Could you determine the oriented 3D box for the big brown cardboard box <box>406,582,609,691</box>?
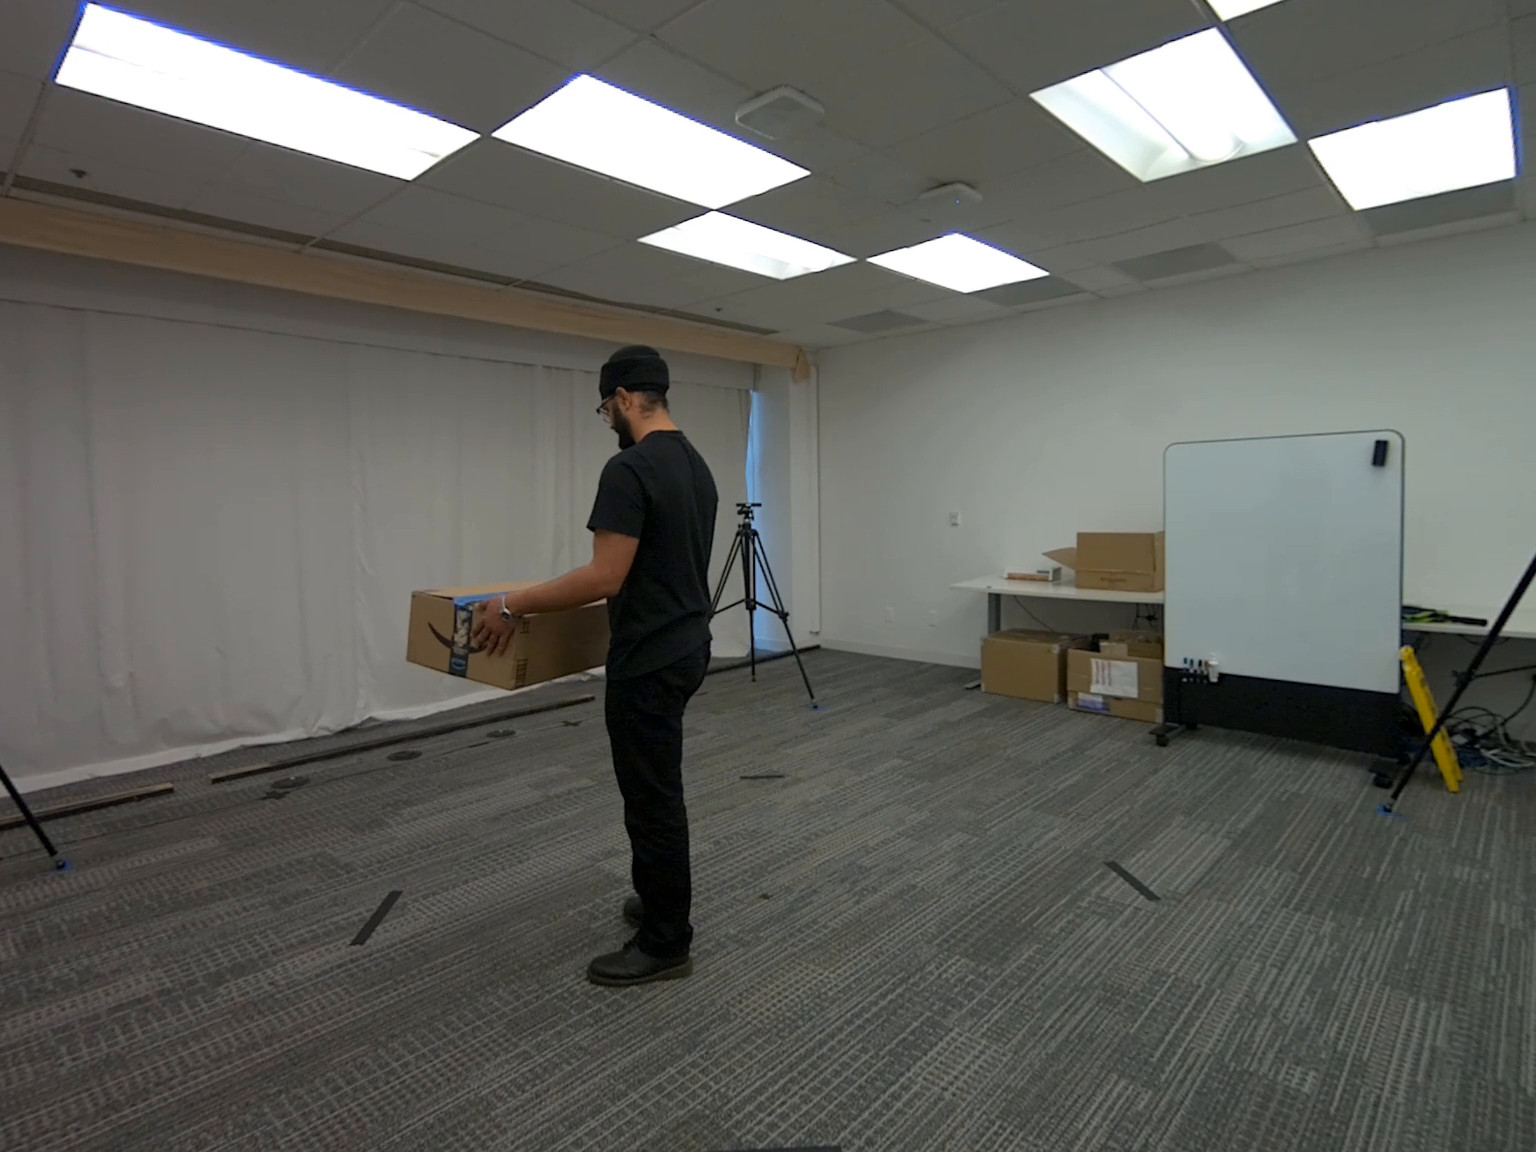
[{"bbox_3d":[-0.772,0.168,2.674,0.429,0.232,0.575,9,6,25],"label":"big brown cardboard box"}]
